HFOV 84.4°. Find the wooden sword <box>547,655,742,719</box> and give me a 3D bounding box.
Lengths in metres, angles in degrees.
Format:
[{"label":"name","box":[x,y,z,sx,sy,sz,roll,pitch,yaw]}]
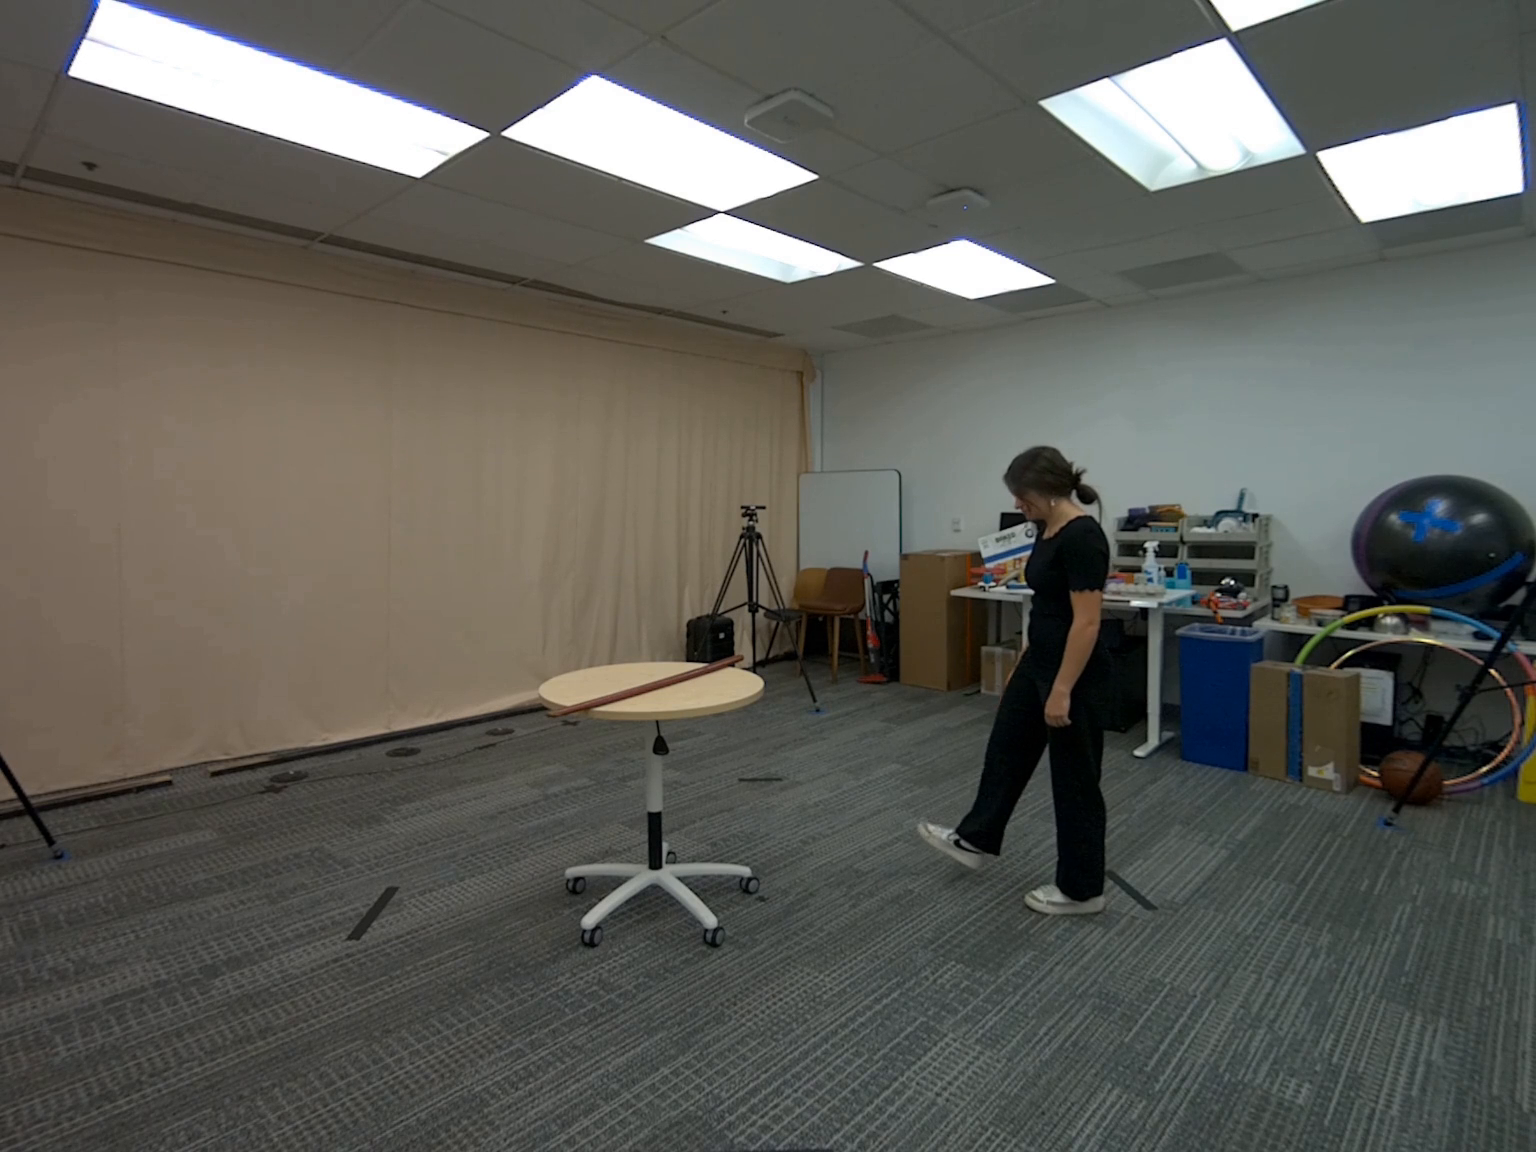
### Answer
[{"label":"wooden sword","box":[-0.334,0.365,2.849,0.052,0.024,0.996,-13,-2,34]}]
